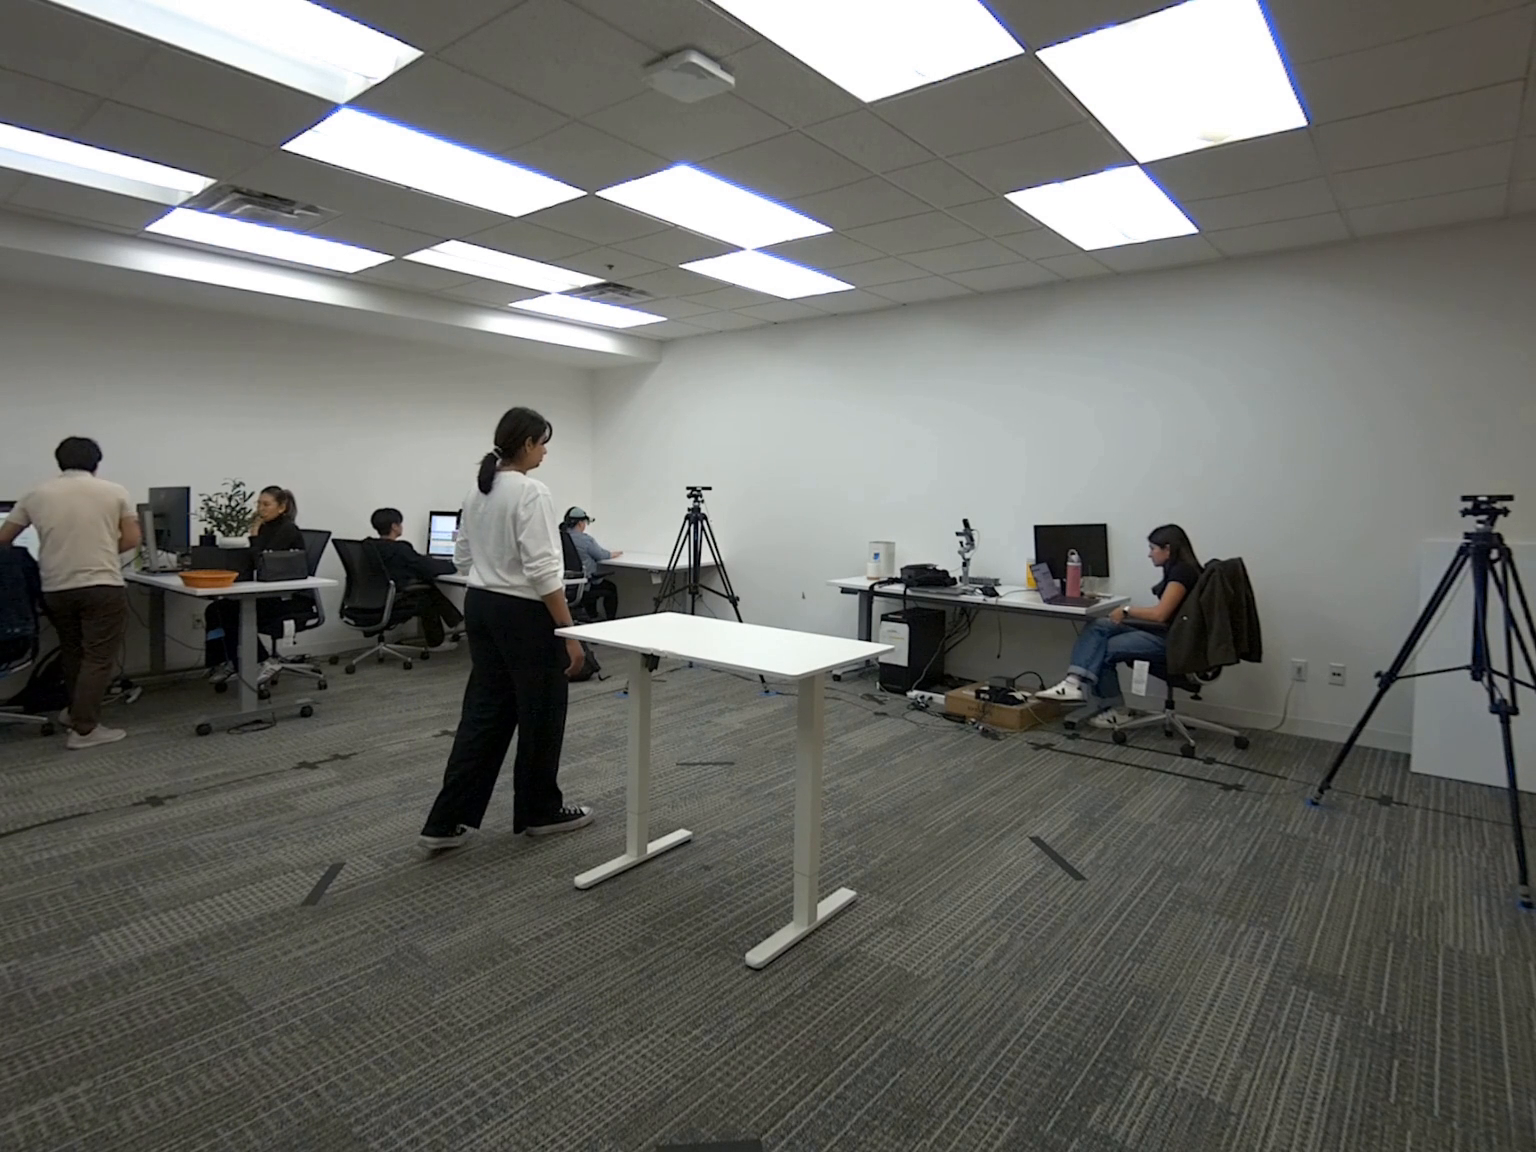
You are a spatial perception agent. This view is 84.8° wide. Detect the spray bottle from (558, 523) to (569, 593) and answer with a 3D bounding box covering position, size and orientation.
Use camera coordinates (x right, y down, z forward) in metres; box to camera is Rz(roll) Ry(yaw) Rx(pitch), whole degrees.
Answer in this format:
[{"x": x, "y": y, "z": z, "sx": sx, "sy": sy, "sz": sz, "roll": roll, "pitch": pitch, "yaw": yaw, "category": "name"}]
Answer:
[{"x": -0.909, "y": -0.076, "z": 3.599, "sx": 0.087, "sy": 0.296, "sz": 0.091, "roll": 1, "pitch": 4, "yaw": -3, "category": "spray bottle"}]
